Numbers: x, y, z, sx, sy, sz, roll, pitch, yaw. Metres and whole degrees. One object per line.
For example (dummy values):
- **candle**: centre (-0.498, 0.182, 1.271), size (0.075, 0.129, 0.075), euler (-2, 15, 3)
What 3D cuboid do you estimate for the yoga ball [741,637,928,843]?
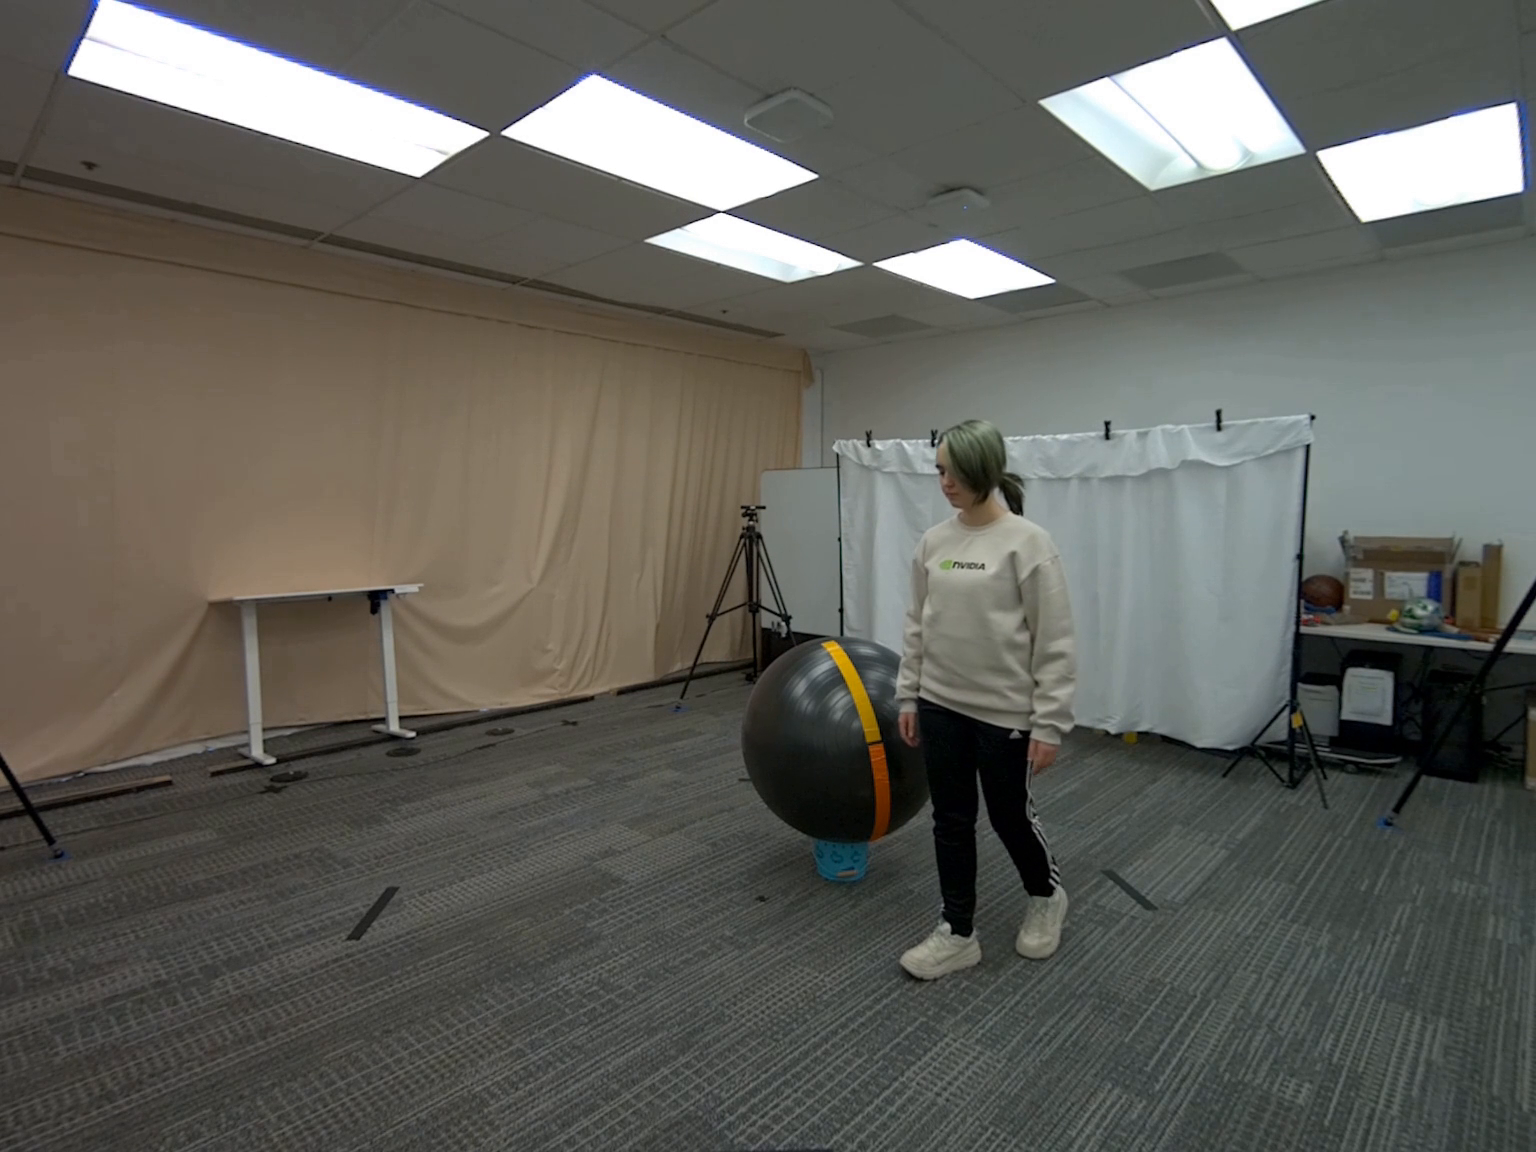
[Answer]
- **yoga ball**: centre (0.281, 0.615, 3.187), size (0.757, 0.756, 0.760), euler (0, 4, -2)
